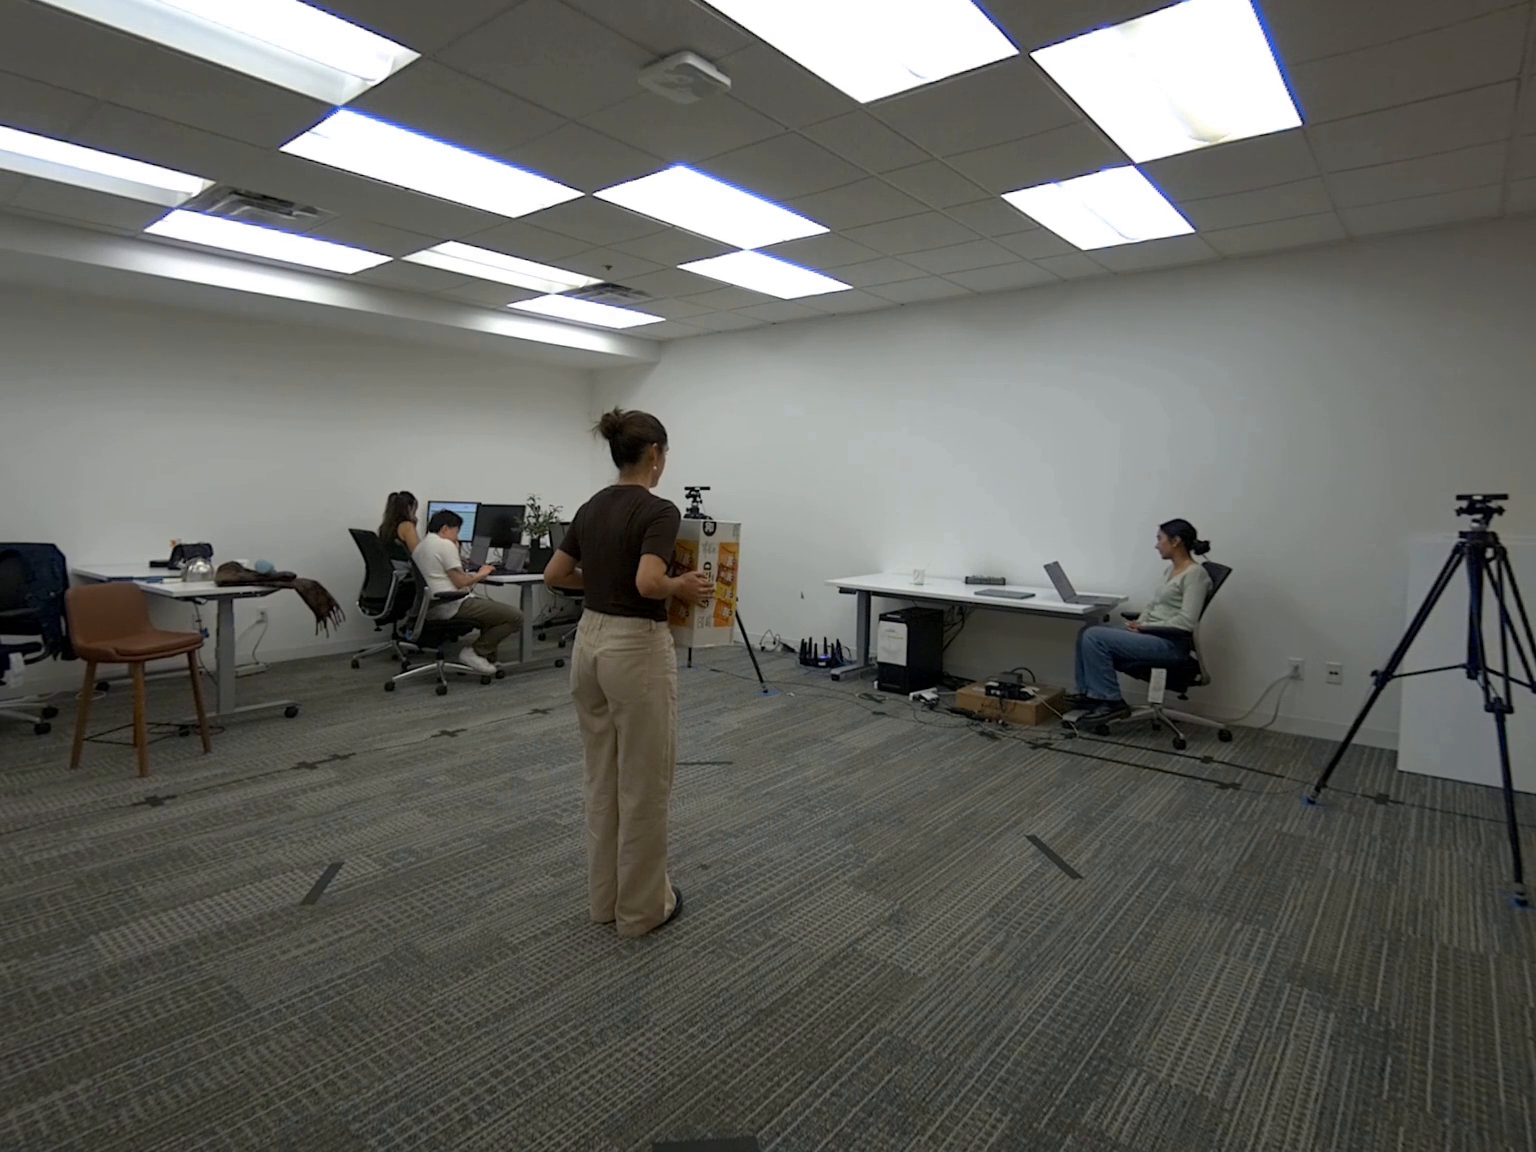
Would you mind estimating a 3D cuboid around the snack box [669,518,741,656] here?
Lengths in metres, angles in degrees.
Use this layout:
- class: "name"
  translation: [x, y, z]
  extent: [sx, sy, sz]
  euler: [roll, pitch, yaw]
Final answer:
- class: "snack box"
  translation: [-0.303, 0.007, 2.844]
  extent: [0.352, 0.405, 0.199]
  euler: [6, 2, 41]
